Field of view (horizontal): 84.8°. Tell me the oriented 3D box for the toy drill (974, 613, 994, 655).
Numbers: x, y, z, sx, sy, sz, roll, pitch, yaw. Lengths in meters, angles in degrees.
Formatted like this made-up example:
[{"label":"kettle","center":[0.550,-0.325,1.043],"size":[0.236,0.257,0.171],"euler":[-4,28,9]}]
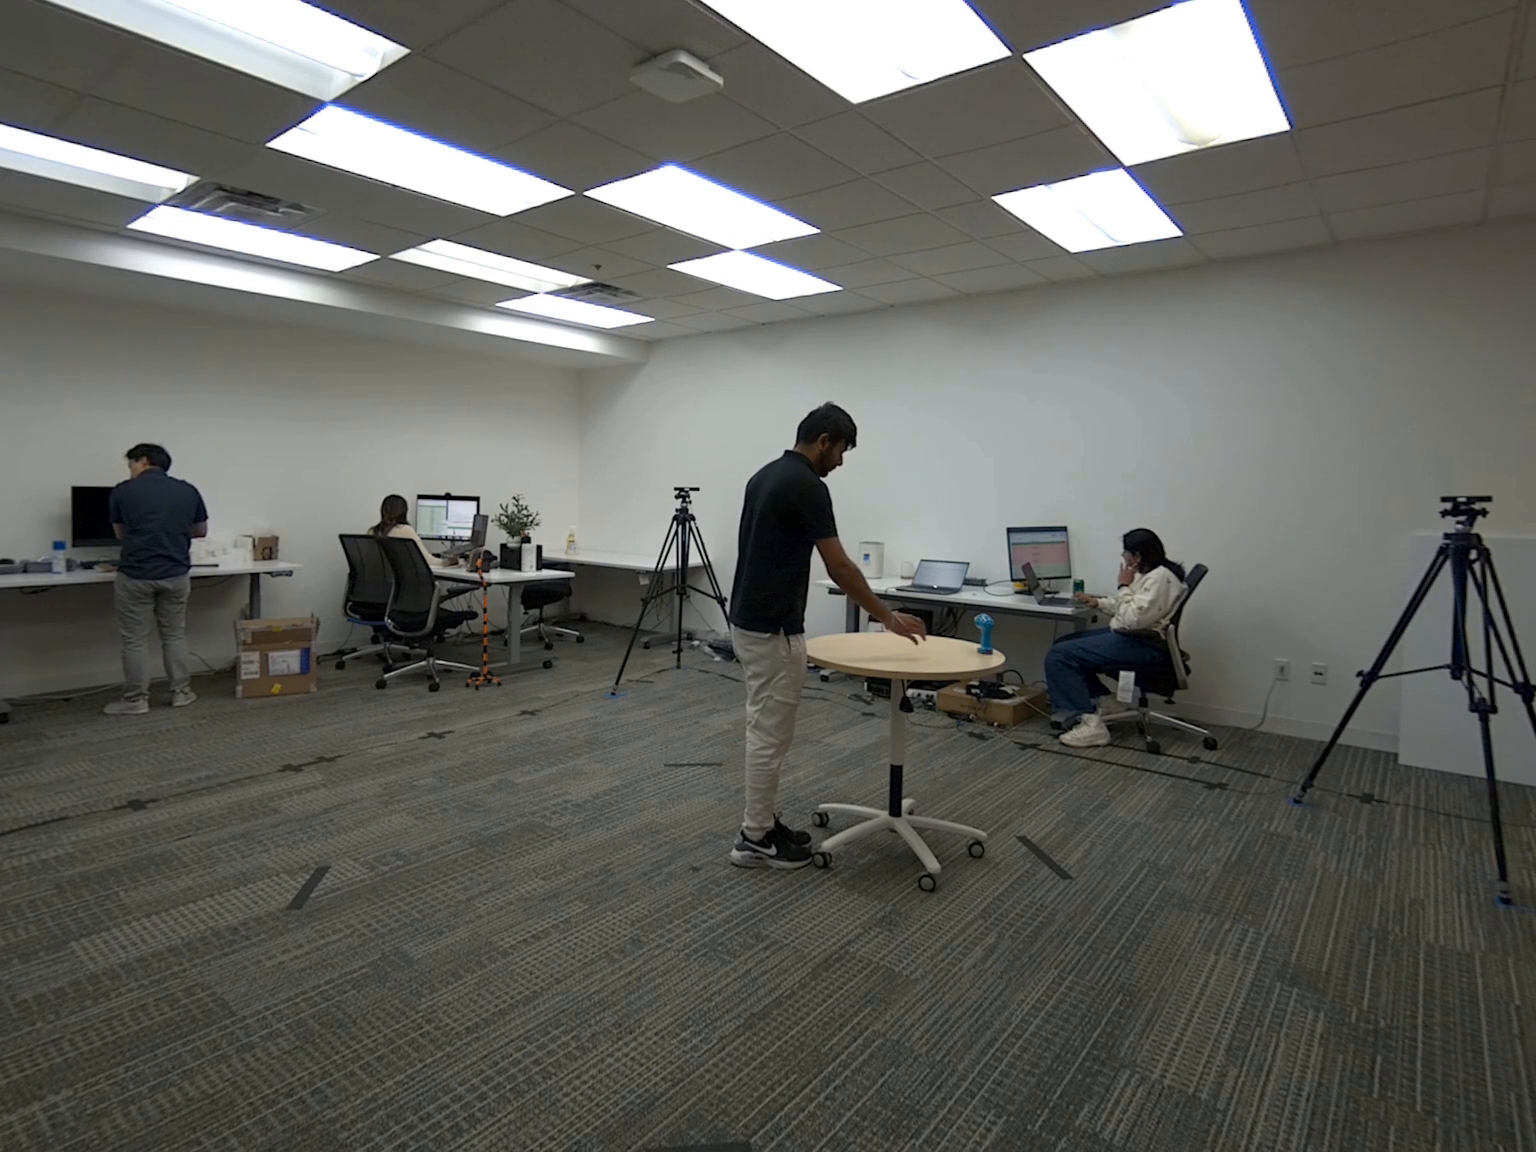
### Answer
[{"label":"toy drill","center":[0.817,0.216,3.273],"size":[0.061,0.145,0.171],"euler":[0,4,-7]}]
